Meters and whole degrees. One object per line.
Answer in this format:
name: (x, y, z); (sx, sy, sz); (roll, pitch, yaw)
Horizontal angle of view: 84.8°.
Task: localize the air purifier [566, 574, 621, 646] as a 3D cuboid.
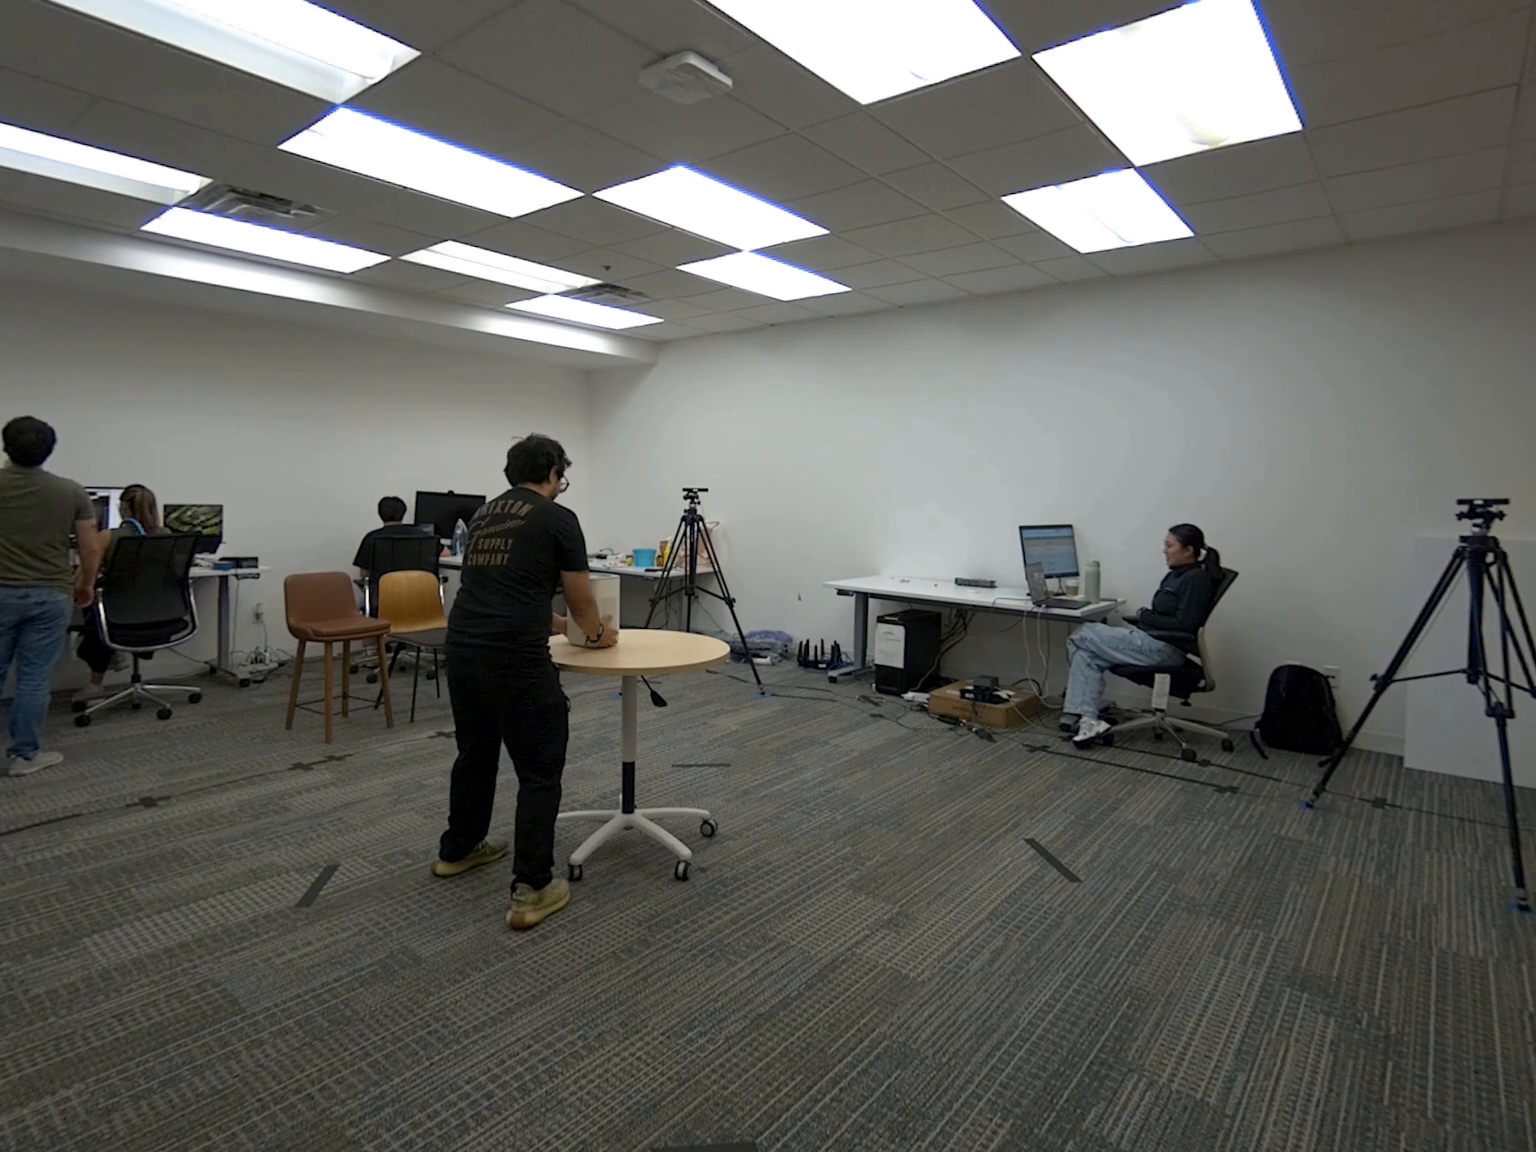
air purifier: (-0.684, 0.128, 3.283); (0.176, 0.264, 0.167); (3, 4, 36)
